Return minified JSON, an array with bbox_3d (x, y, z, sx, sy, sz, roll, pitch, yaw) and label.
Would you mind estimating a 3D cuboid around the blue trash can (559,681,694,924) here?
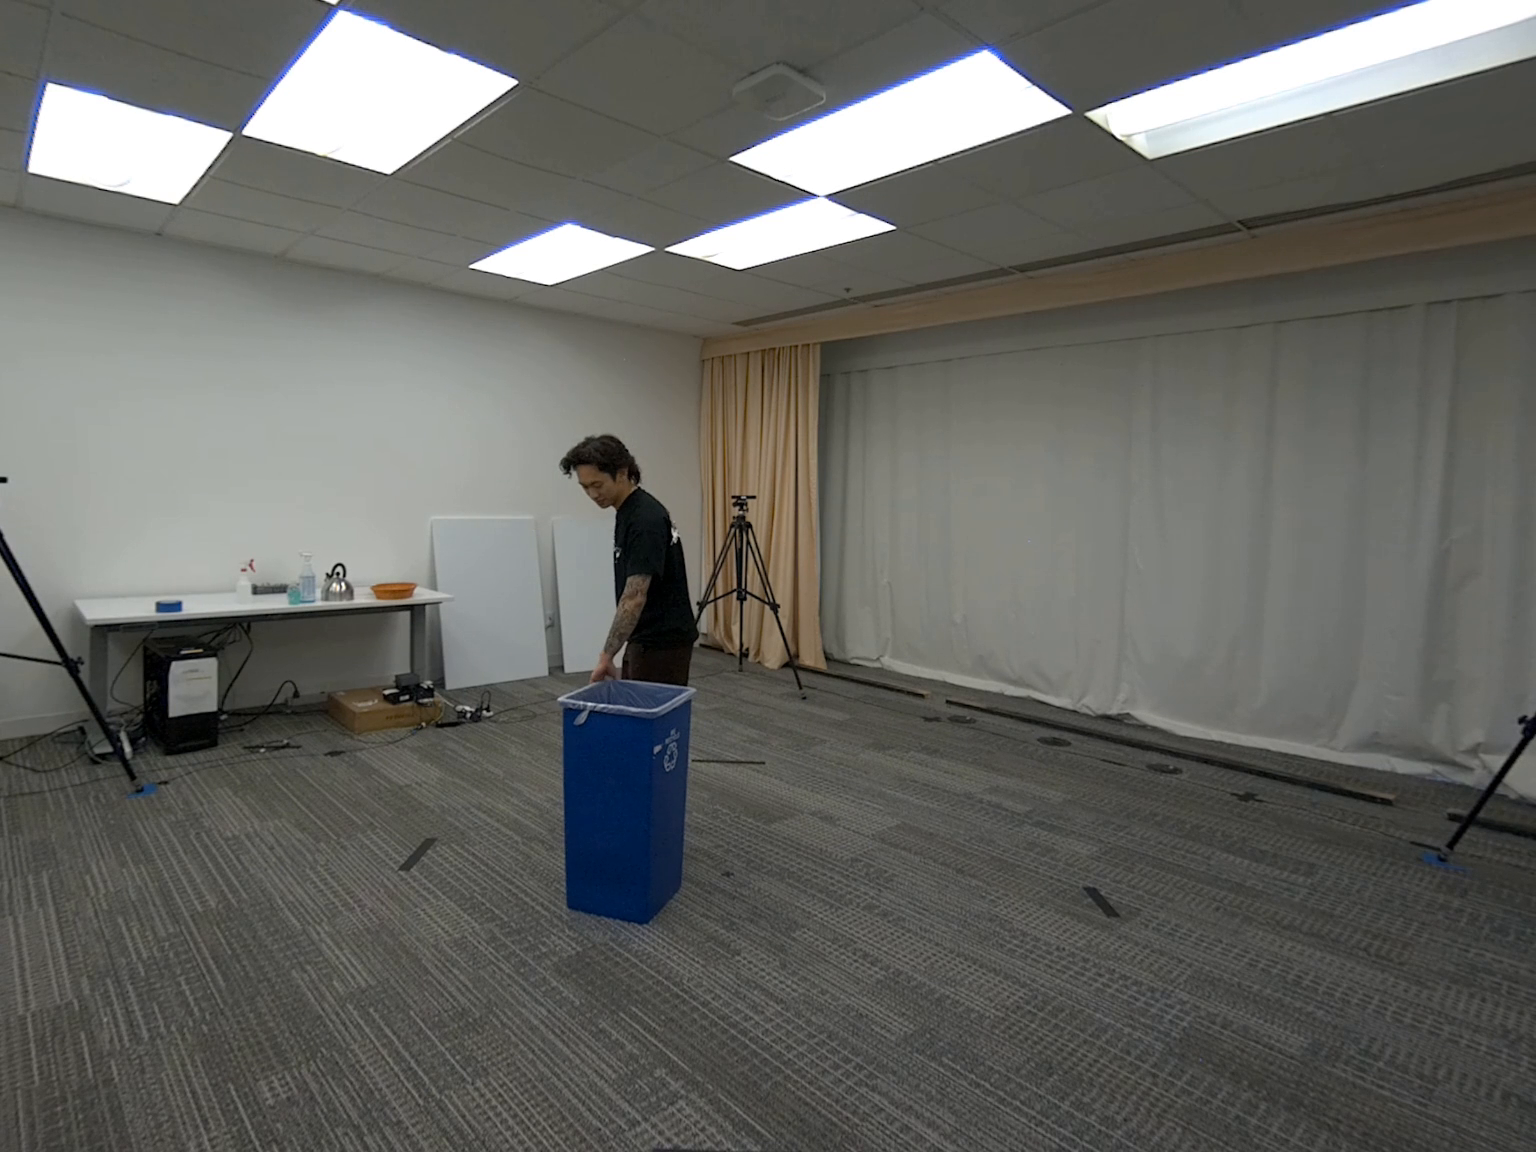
[{"bbox_3d":[-0.495,0.756,2.896,0.384,0.711,0.370,3,4,18],"label":"blue trash can"}]
